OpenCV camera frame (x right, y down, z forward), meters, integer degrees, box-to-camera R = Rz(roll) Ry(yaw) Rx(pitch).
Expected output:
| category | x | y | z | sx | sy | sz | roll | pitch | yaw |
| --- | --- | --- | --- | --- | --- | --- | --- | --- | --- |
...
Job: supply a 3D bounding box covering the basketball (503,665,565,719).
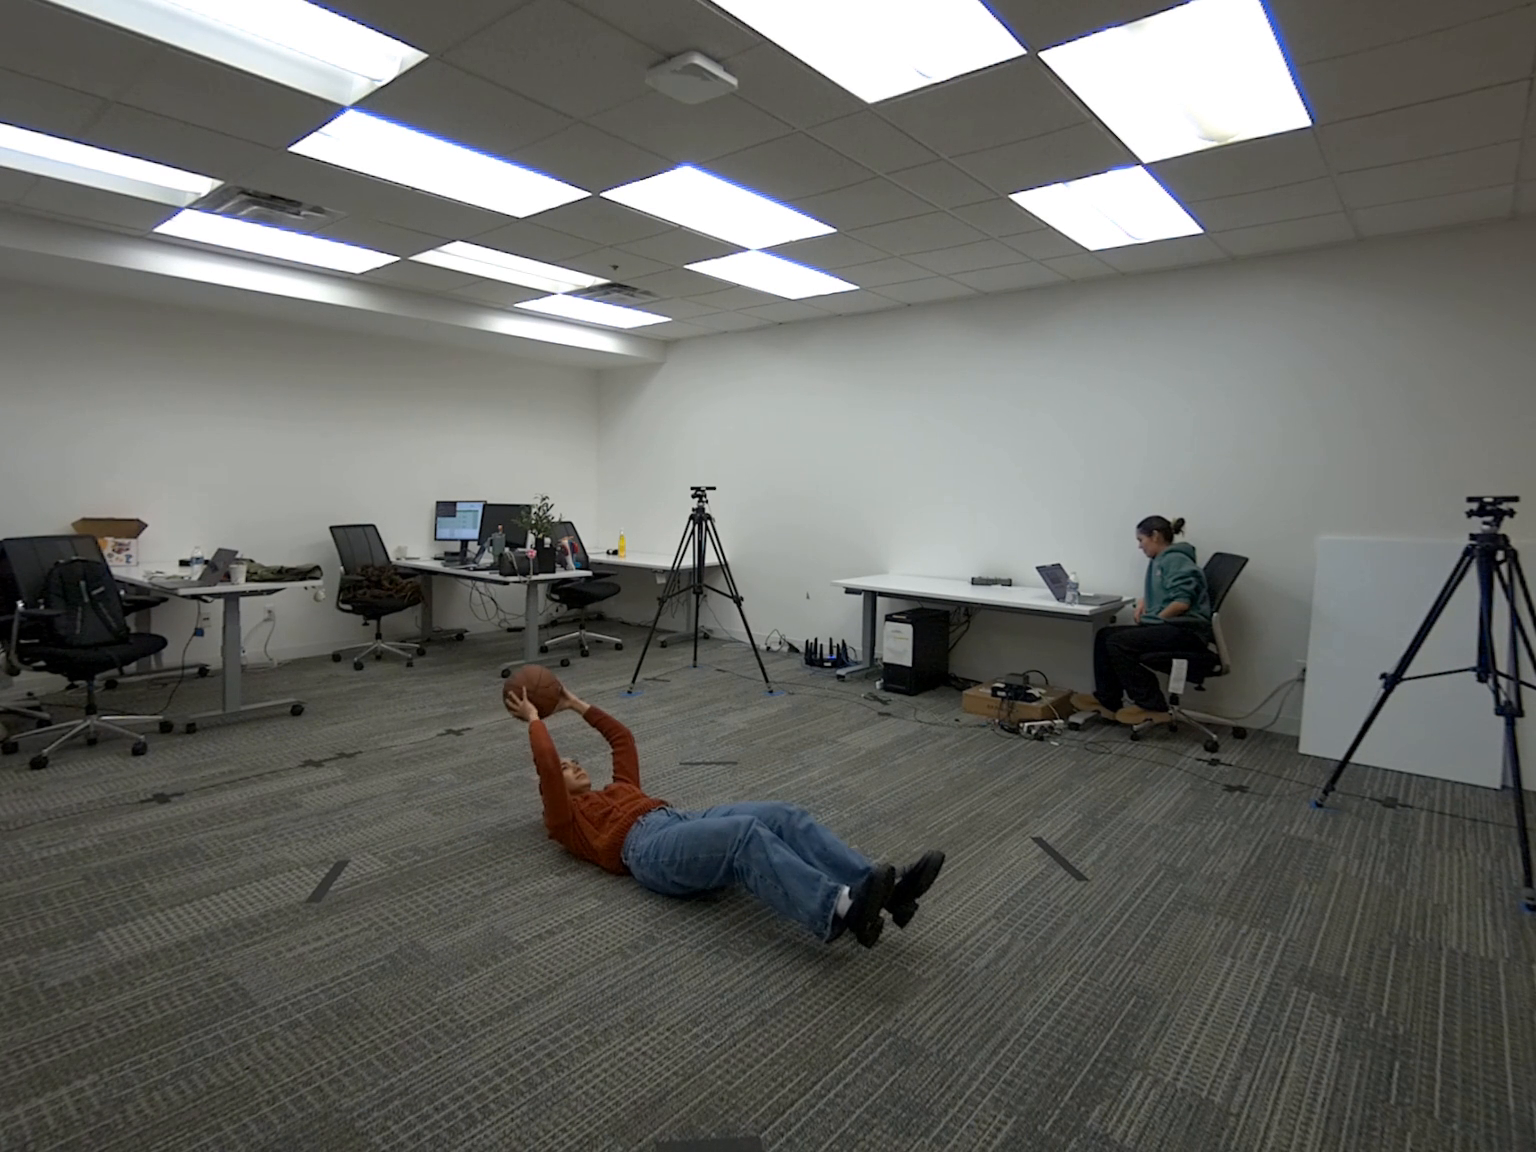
| category | x | y | z | sx | sy | sz | roll | pitch | yaw |
| --- | --- | --- | --- | --- | --- | --- | --- | --- | --- |
| basketball | -0.995 | 0.505 | 3.541 | 0.236 | 0.235 | 0.237 | -3 | 3 | -2 |
